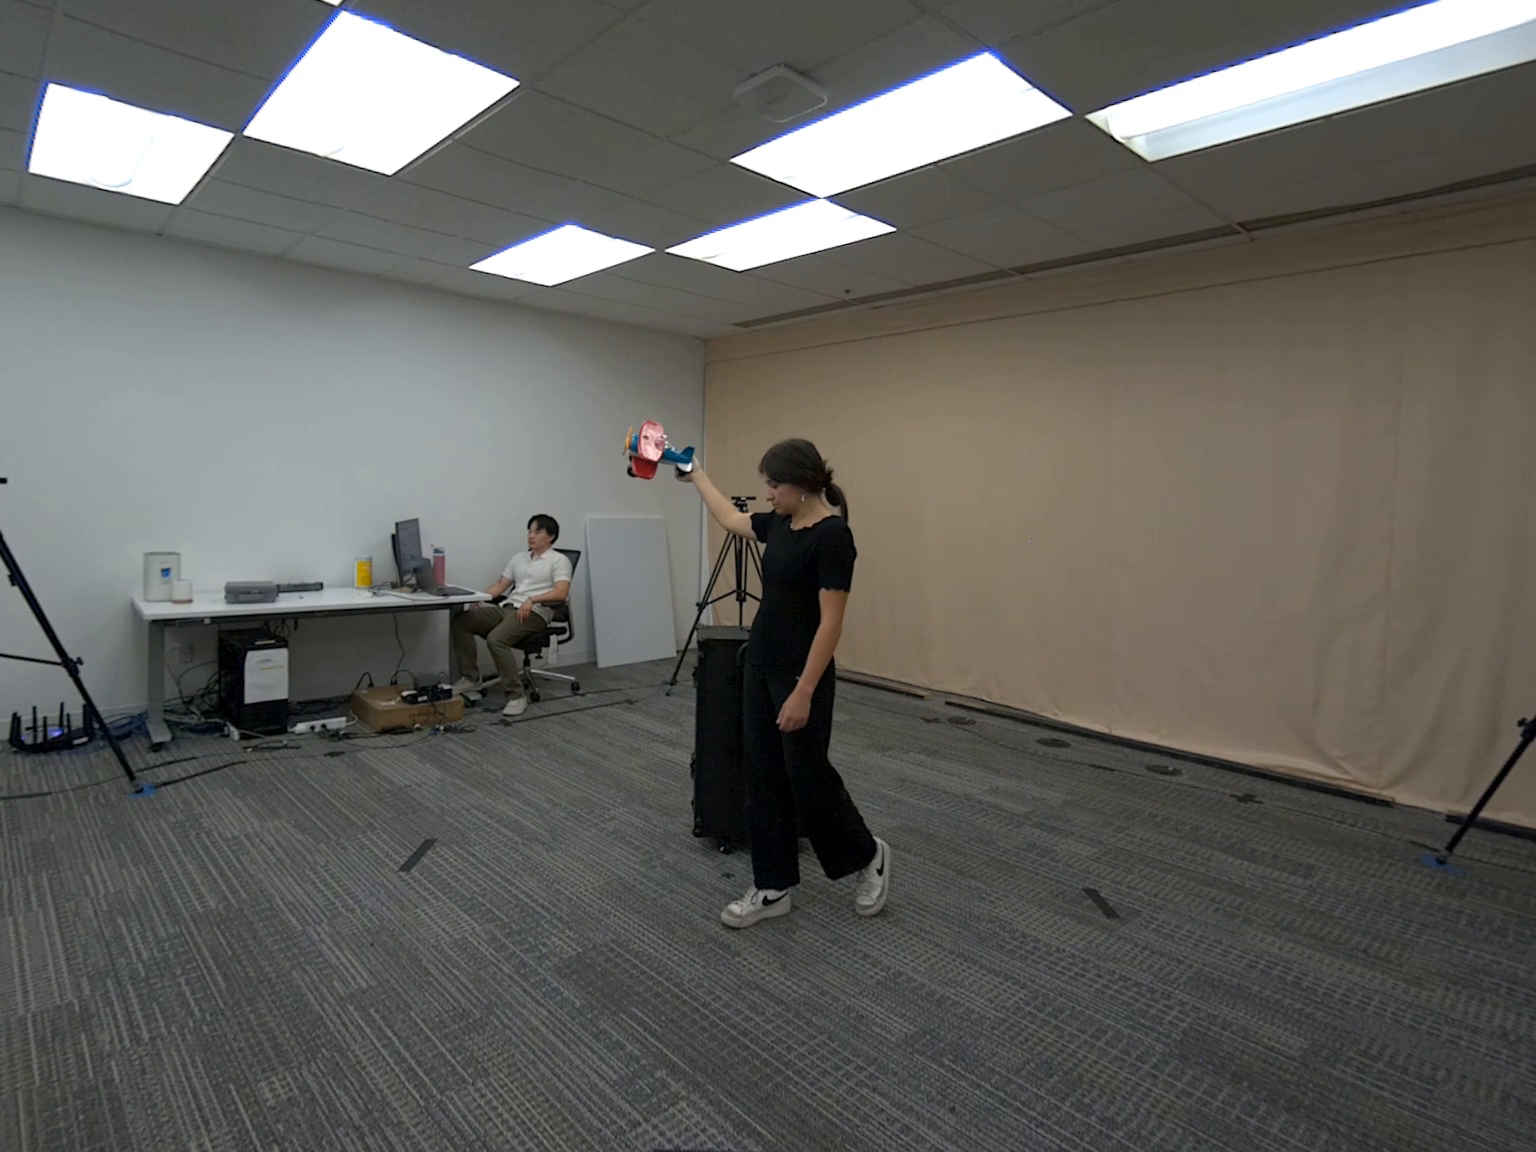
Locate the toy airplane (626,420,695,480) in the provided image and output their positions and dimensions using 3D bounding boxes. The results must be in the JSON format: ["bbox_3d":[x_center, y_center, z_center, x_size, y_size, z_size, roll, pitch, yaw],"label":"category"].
[{"bbox_3d":[-0.416,-0.468,3.175,0.256,0.153,0.259,-15,47,-25],"label":"toy airplane"}]
